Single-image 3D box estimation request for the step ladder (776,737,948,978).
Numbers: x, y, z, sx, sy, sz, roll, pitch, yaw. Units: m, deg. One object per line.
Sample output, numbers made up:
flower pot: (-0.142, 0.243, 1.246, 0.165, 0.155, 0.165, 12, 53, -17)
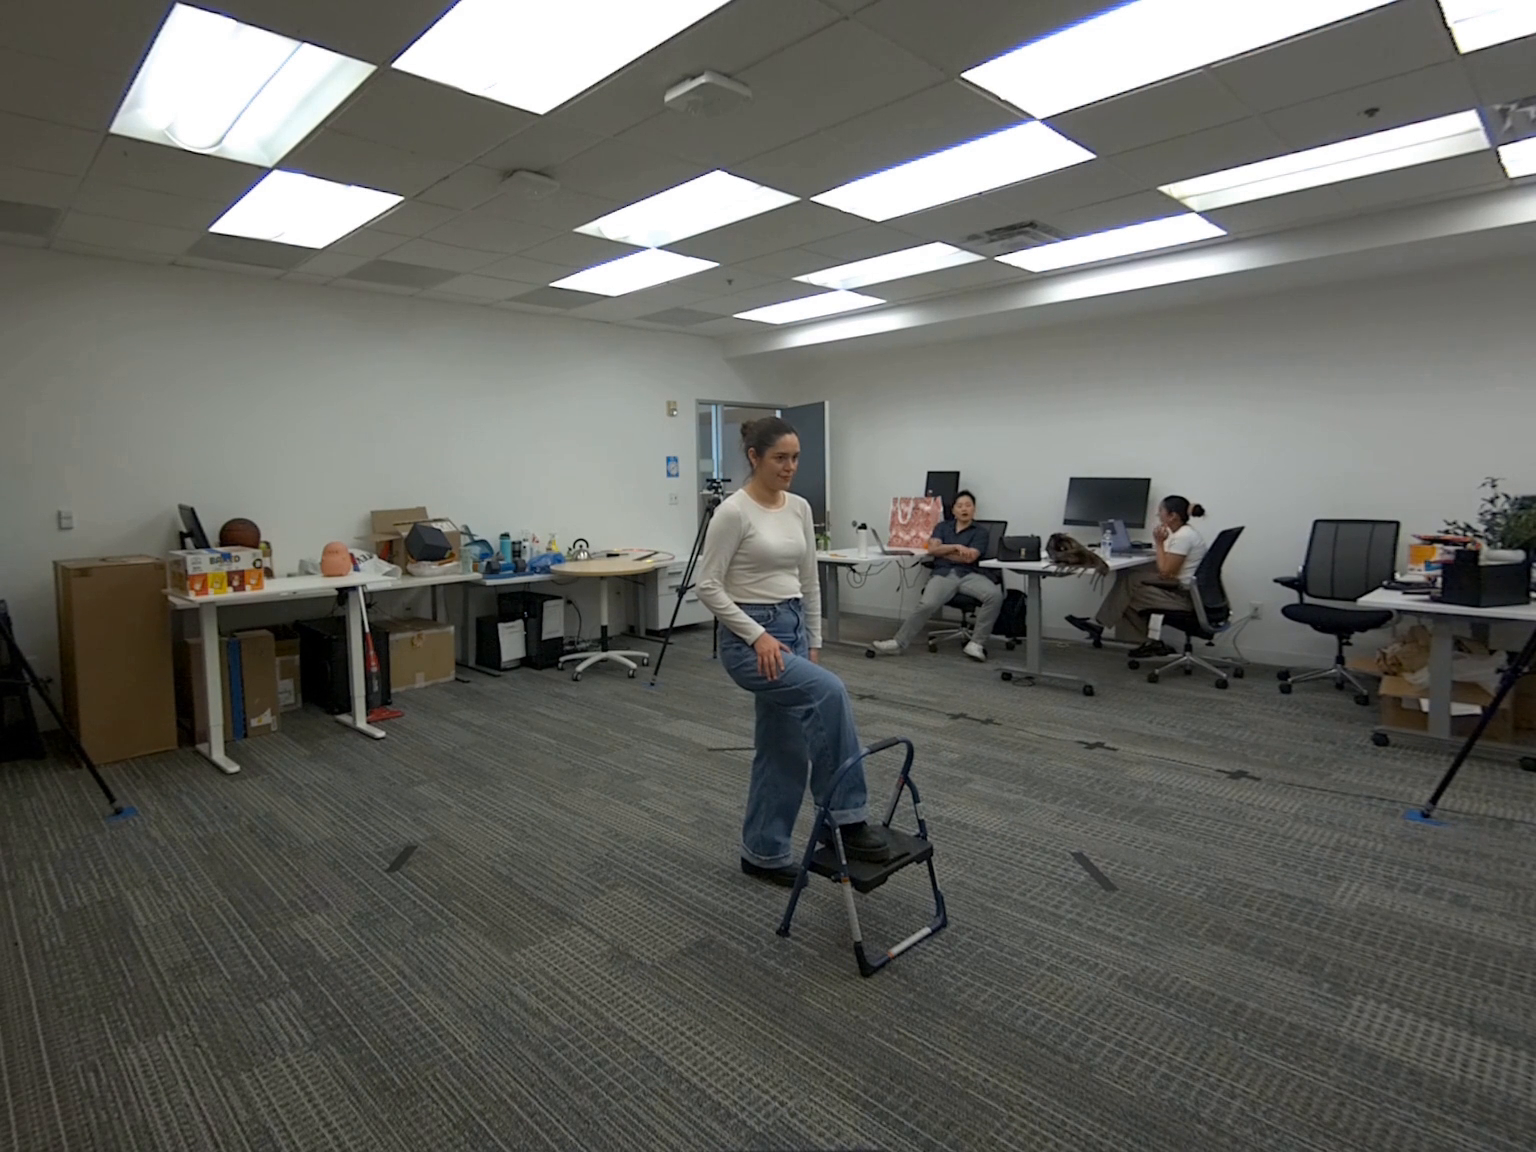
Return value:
step ladder: (0.294, 0.793, 2.621, 0.360, 0.603, 0.419, 4, 7, 44)
